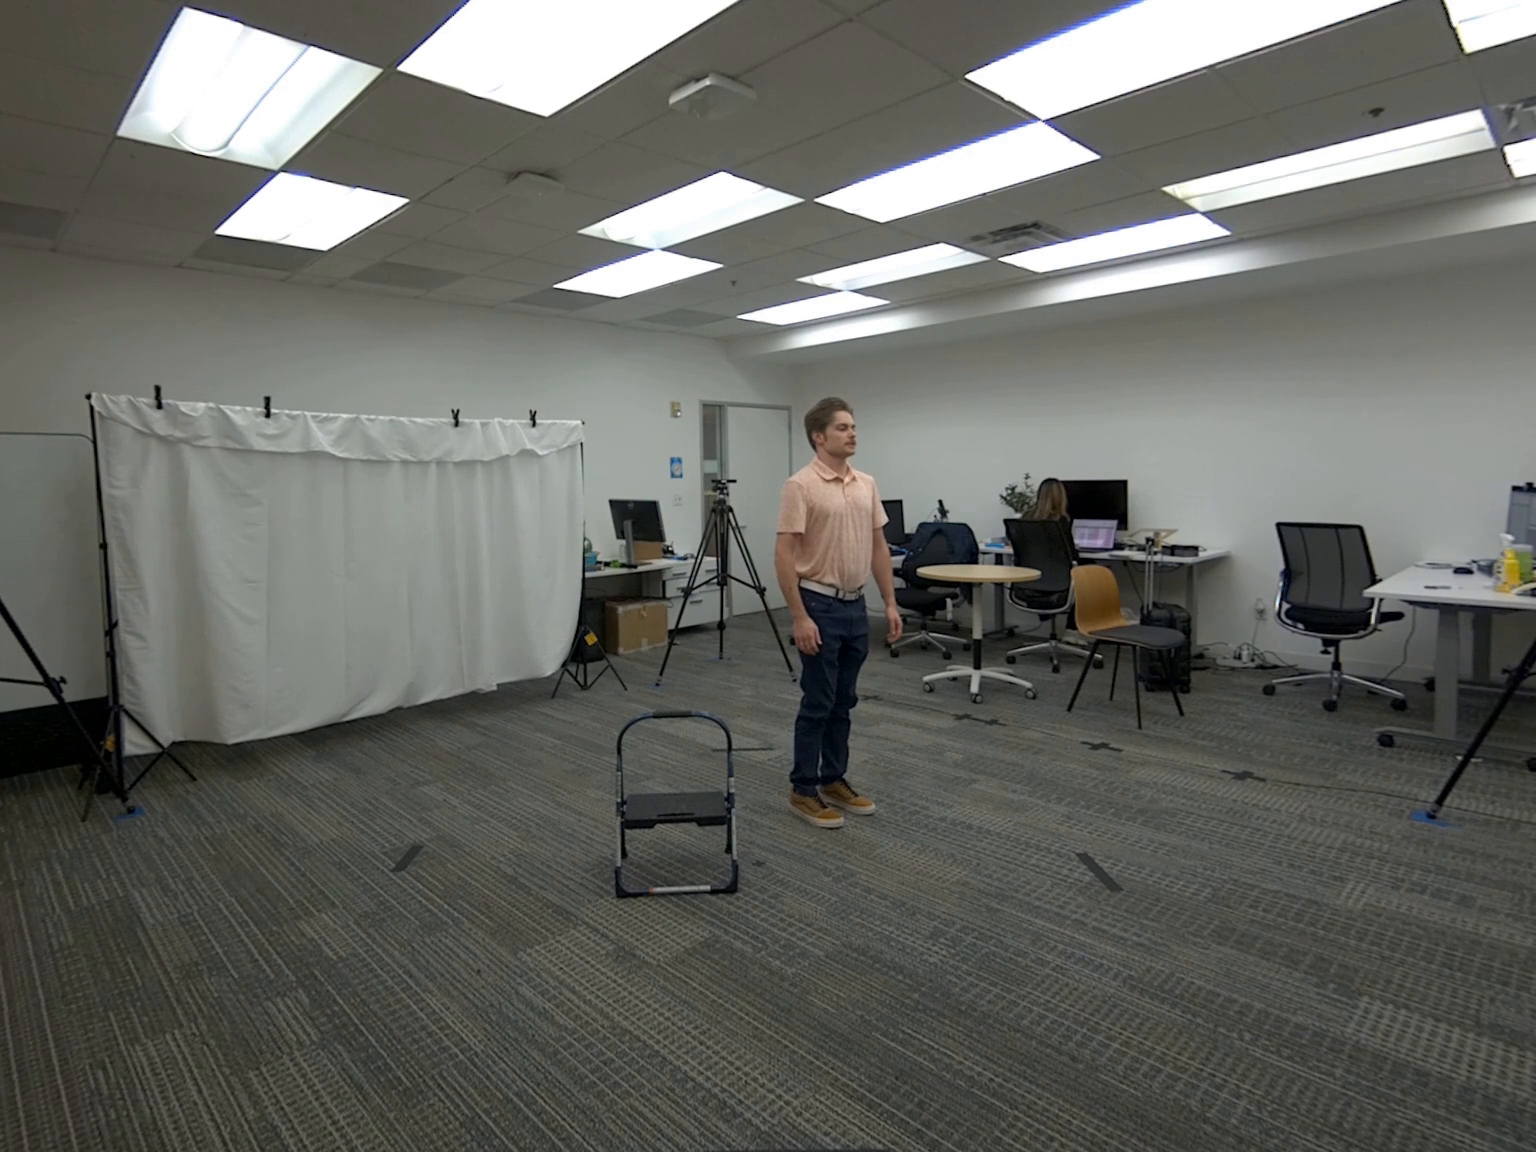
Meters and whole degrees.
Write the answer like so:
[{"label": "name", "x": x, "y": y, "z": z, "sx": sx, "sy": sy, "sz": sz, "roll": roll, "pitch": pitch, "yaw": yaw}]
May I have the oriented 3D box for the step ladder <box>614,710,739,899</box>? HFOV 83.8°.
[{"label": "step ladder", "x": -0.330, "y": 0.763, "z": 3.028, "sx": 0.428, "sy": 0.604, "sz": 0.352, "roll": -2, "pitch": 3, "yaw": -6}]
